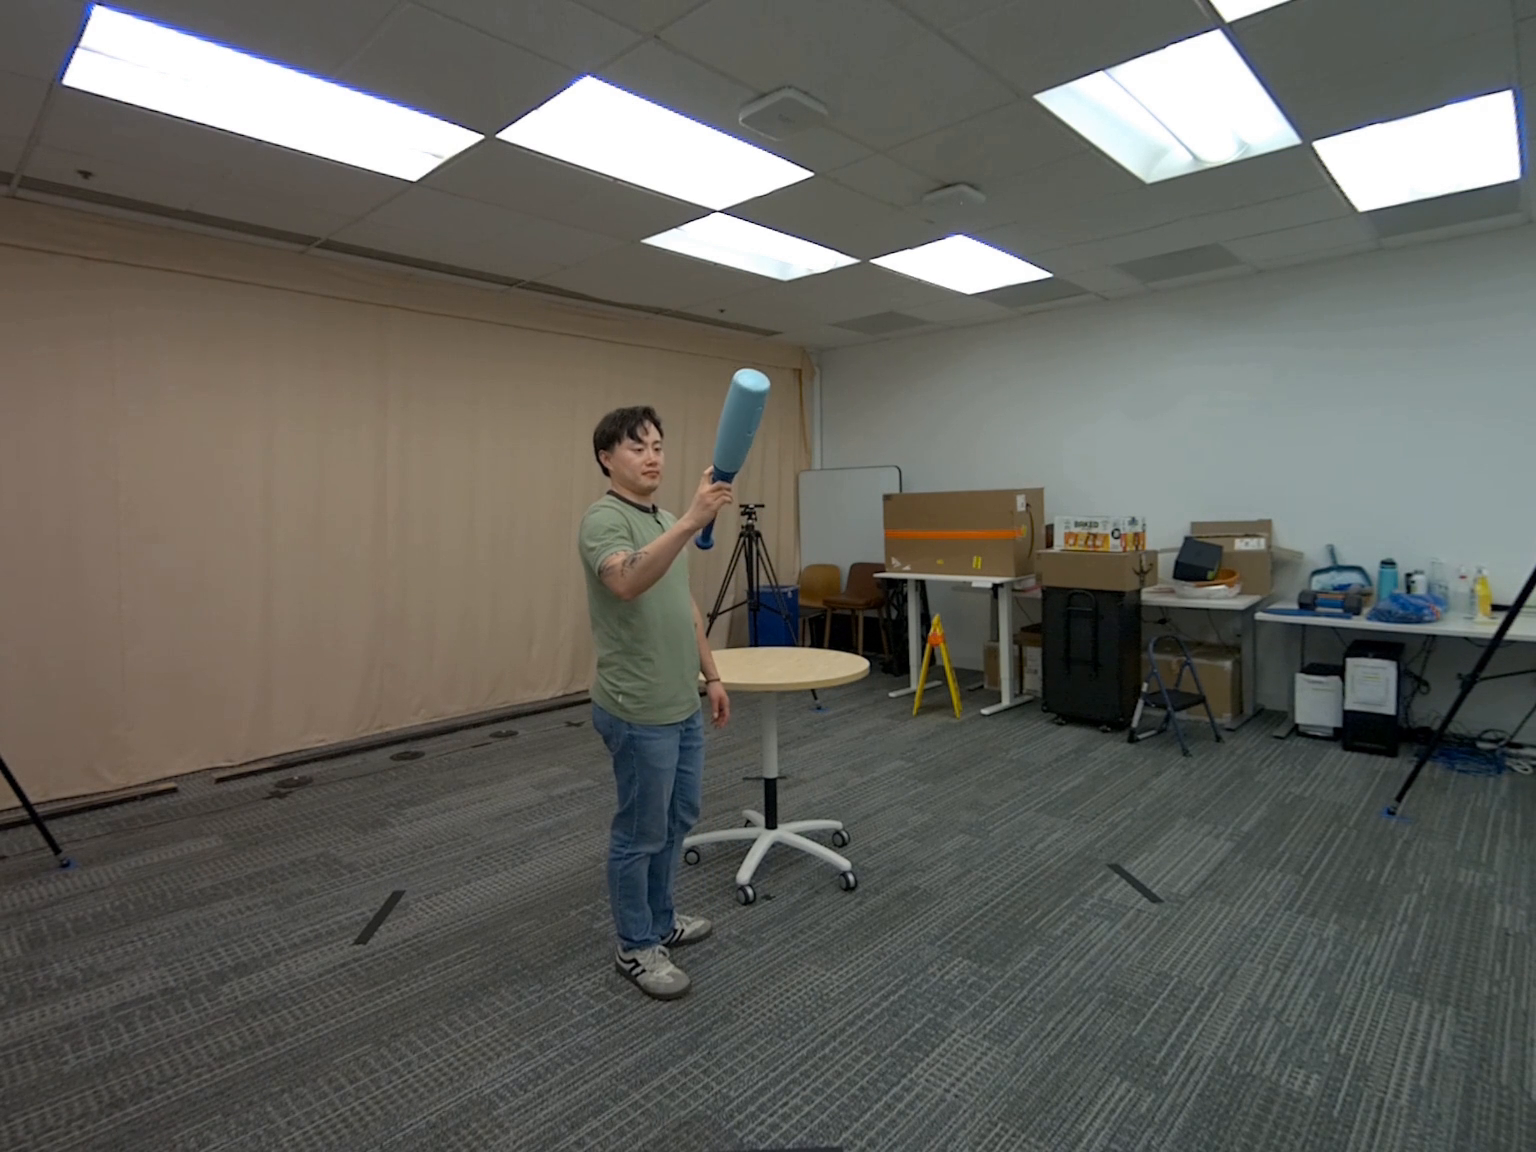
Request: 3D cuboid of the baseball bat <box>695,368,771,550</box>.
[{"bbox_3d":[-0.097,-0.252,2.012,0.087,0.091,0.540,-2,-40,-24],"label":"baseball bat"}]
